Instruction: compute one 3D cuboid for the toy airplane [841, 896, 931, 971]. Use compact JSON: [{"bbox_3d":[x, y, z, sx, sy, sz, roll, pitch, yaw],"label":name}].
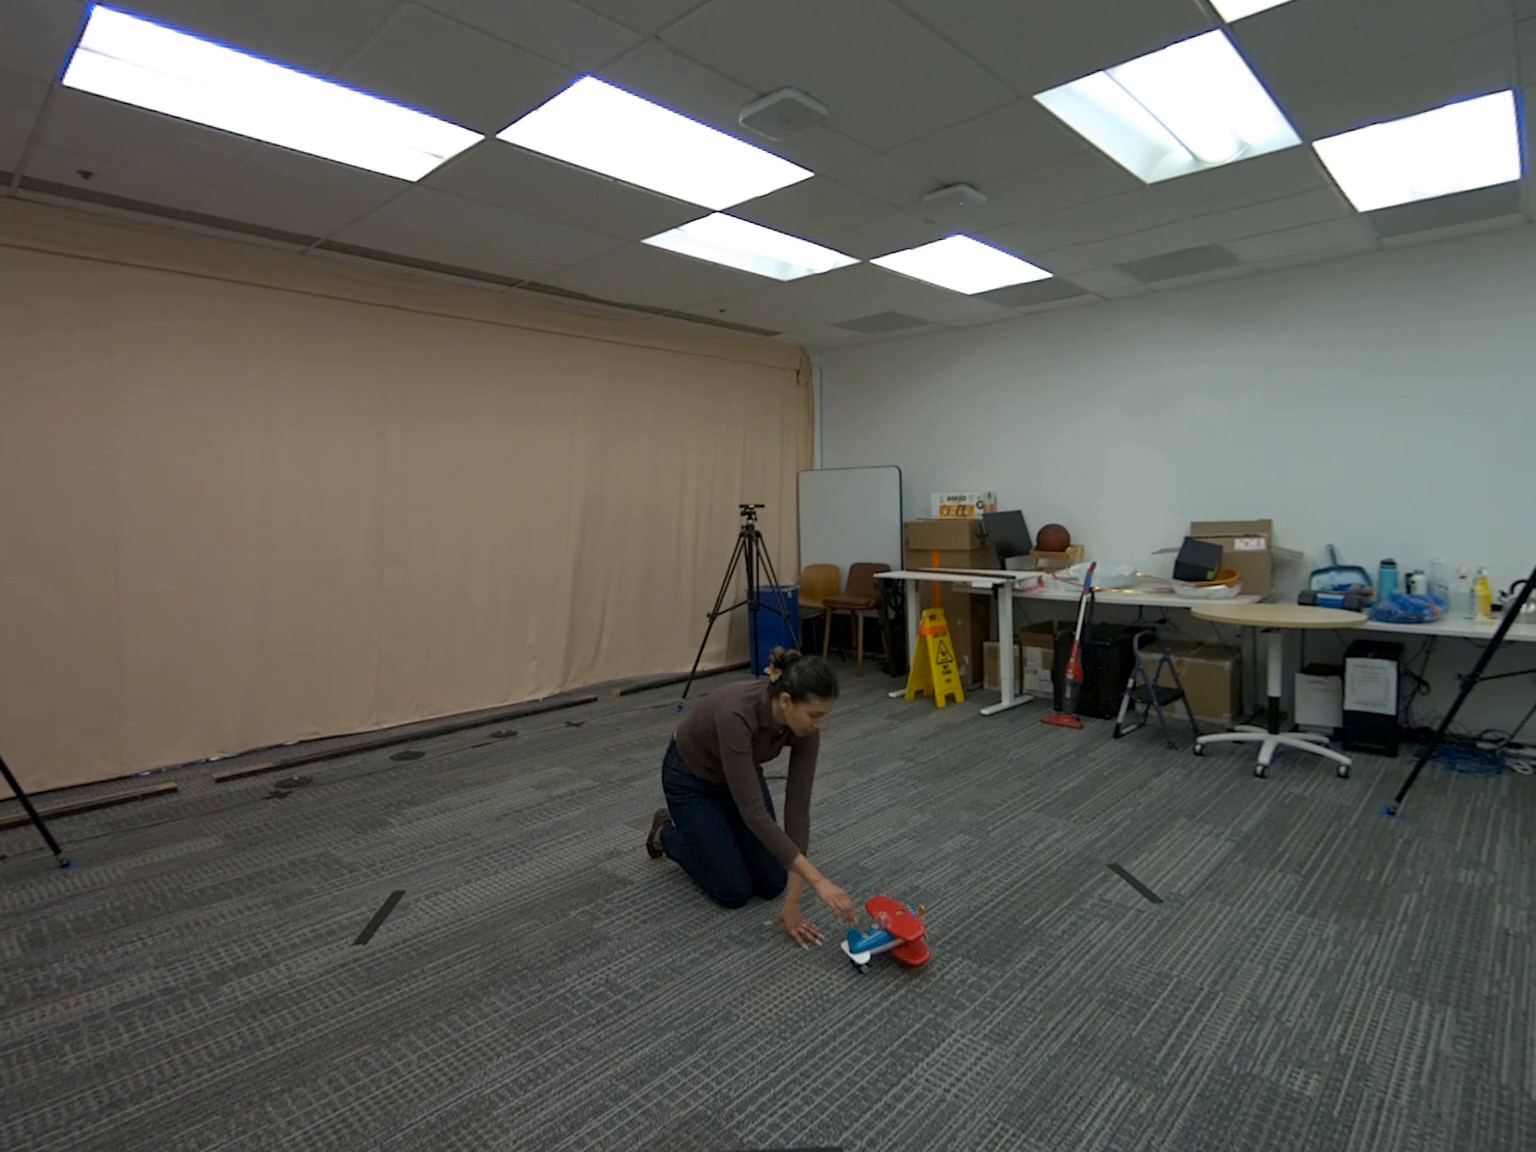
[{"bbox_3d":[0.373,1.099,2.523,0.259,0.156,0.251,4,4,40],"label":"toy airplane"}]
